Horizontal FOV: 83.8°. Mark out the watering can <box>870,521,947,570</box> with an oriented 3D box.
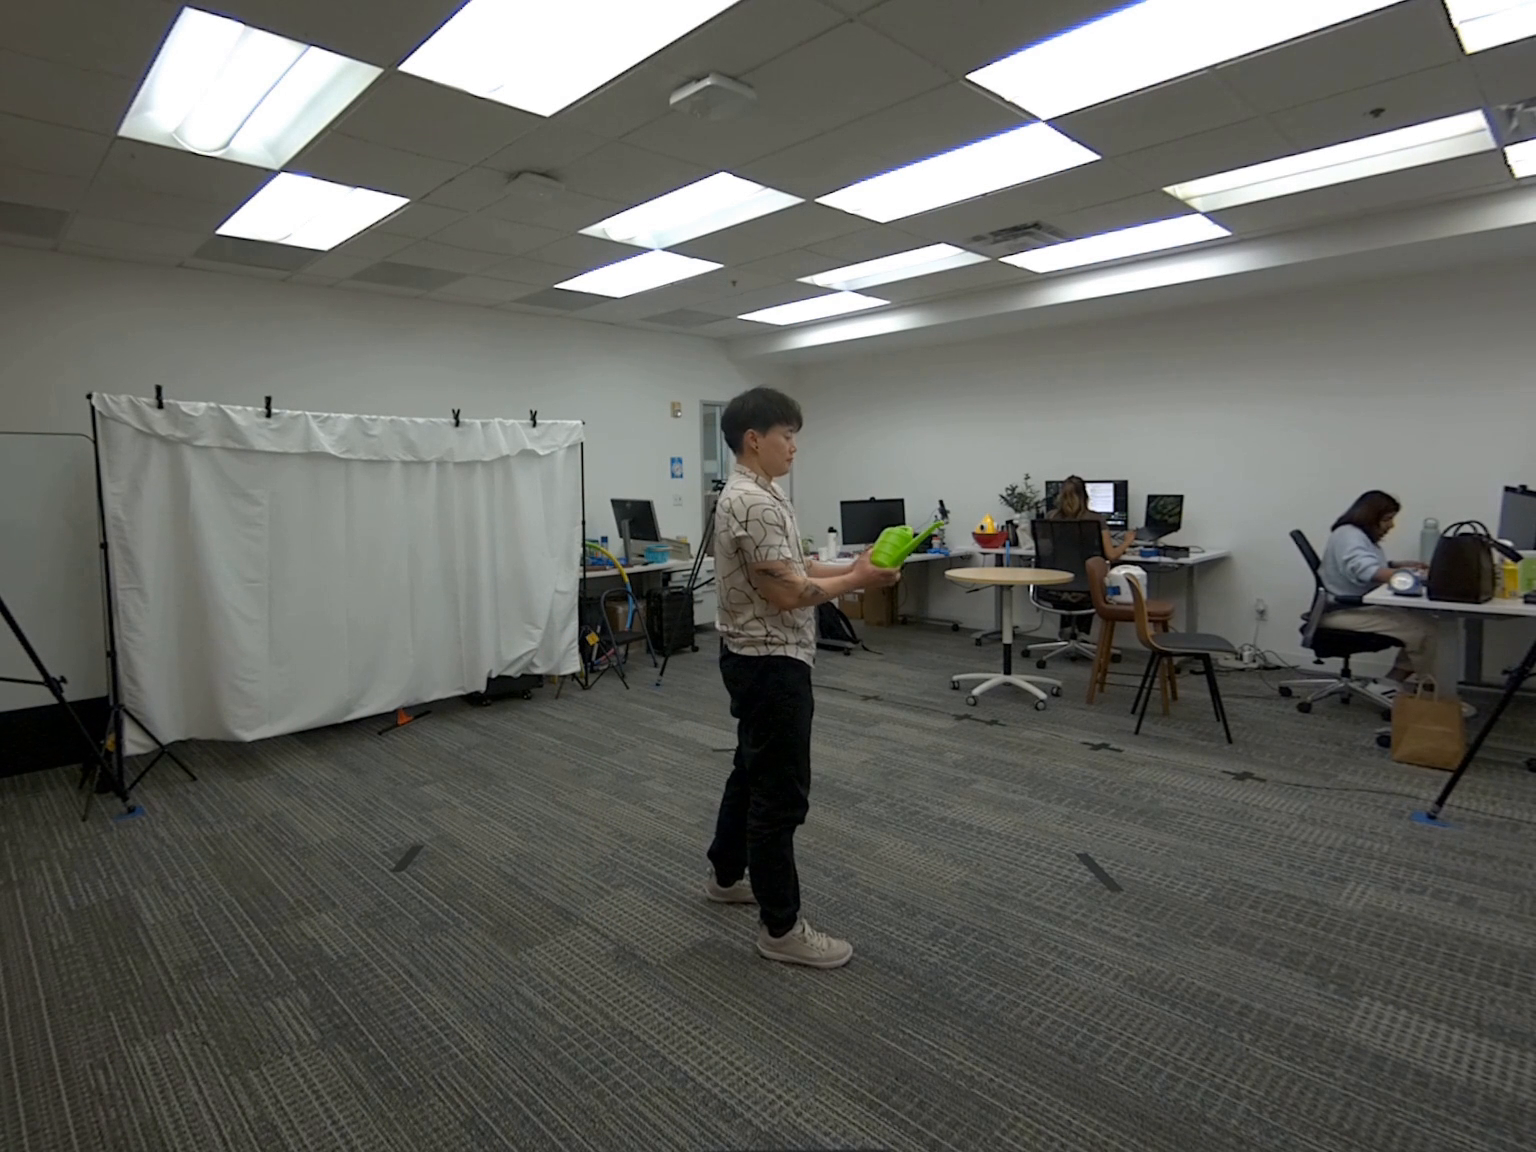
[{"bbox_3d":[0.384,-0.087,2.547,0.097,0.177,0.279,38,-18,-7],"label":"watering can"}]
